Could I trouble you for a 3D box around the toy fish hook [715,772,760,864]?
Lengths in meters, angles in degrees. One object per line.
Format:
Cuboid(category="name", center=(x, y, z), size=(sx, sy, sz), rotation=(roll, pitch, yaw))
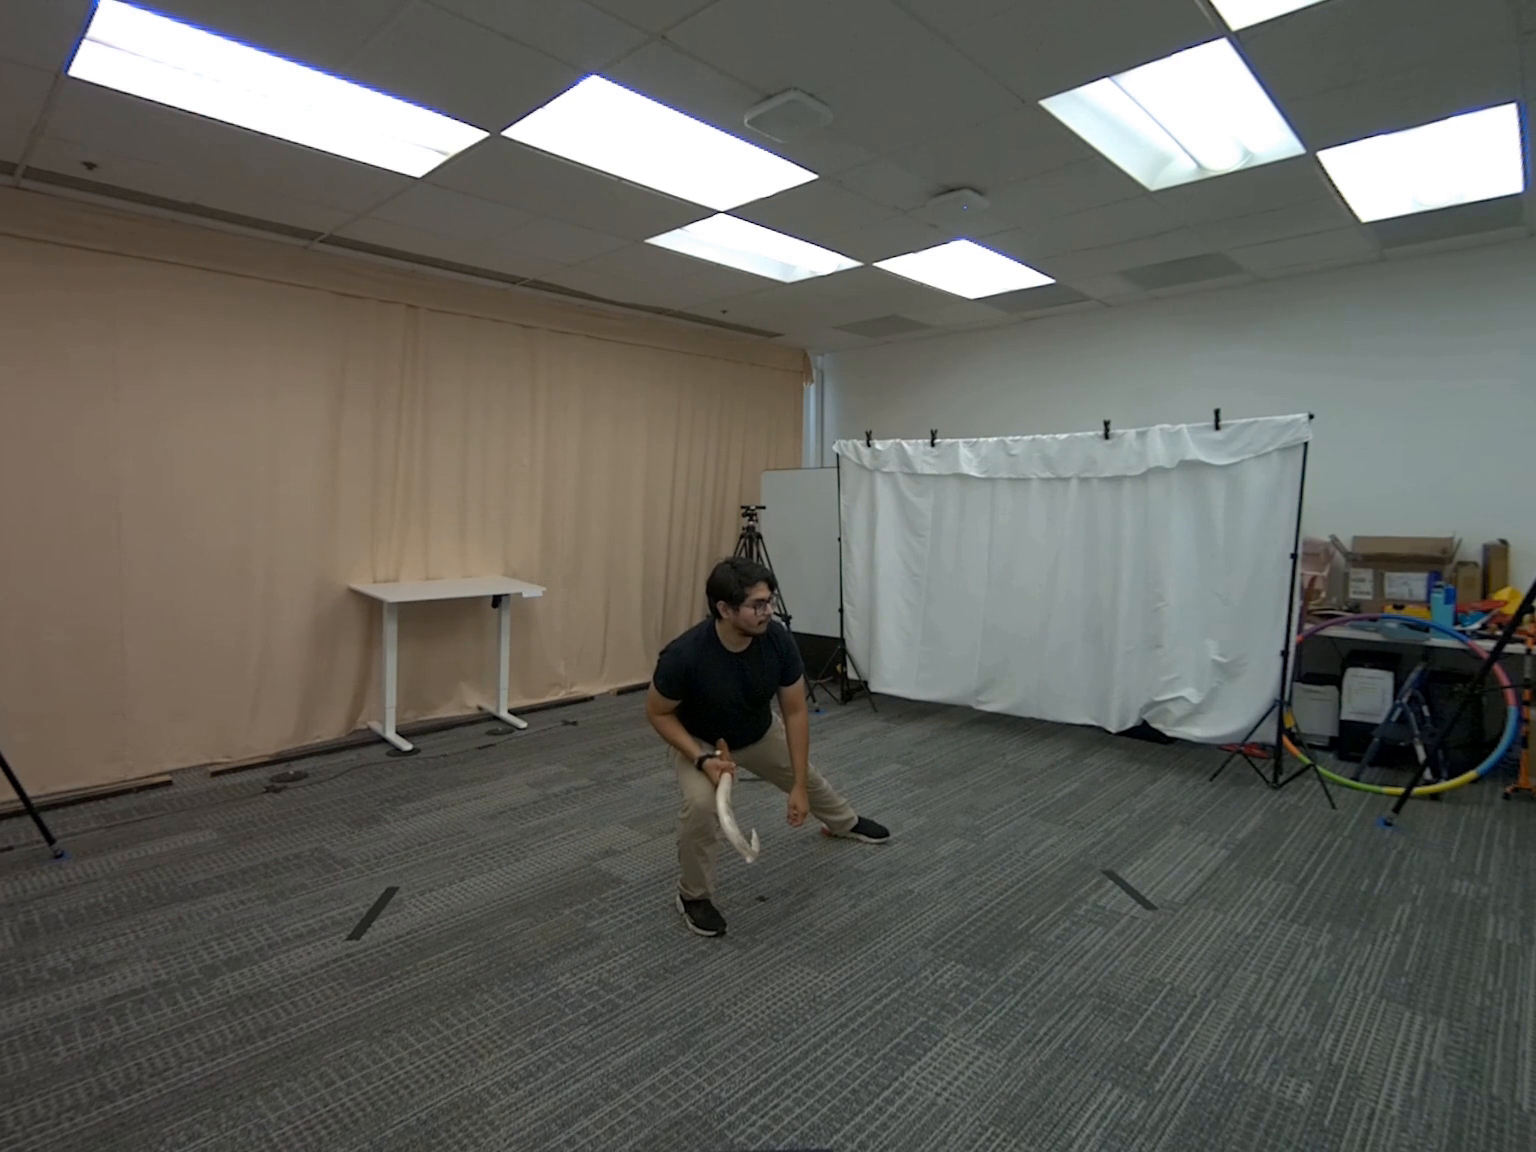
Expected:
Cuboid(category="toy fish hook", center=(-0.097, 0.687, 2.618), size=(0.048, 0.220, 0.514), rotation=(-24, 21, 5))
